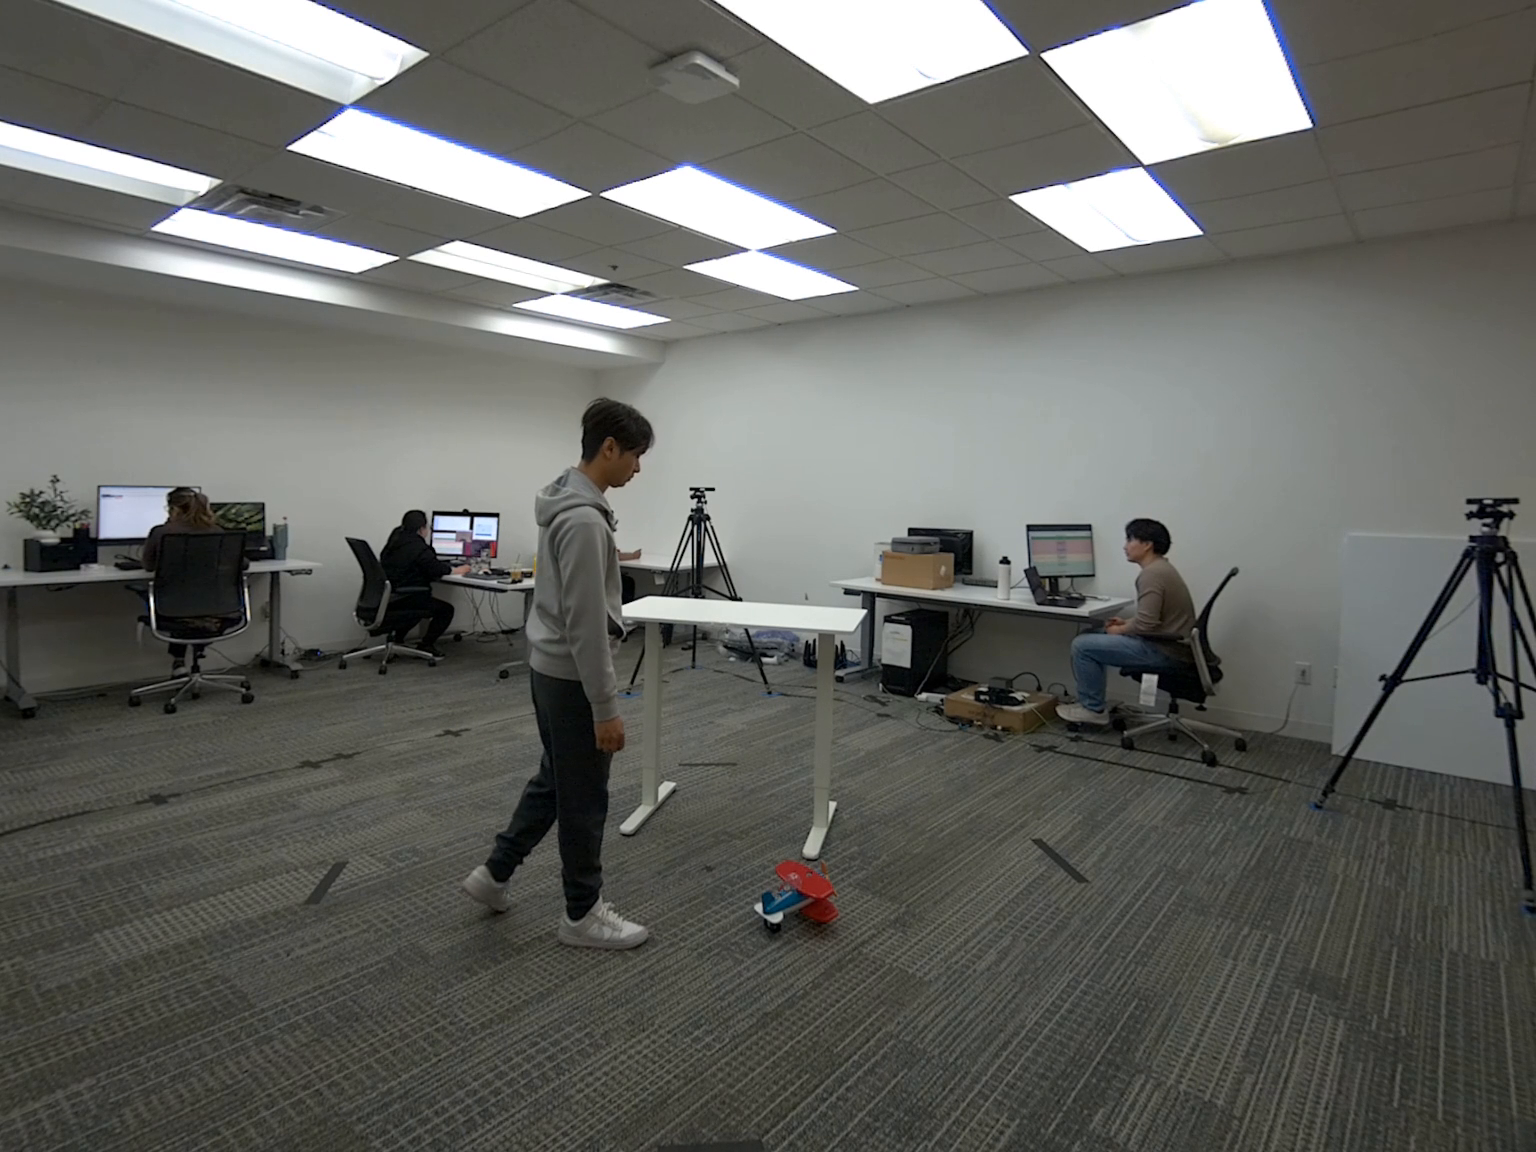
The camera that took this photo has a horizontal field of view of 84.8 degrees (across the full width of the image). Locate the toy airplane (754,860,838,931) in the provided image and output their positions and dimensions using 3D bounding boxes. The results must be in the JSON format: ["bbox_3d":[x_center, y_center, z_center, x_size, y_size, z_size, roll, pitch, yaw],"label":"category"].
[{"bbox_3d":[0.094,1.040,2.713,0.259,0.156,0.252,5,4,30],"label":"toy airplane"}]
